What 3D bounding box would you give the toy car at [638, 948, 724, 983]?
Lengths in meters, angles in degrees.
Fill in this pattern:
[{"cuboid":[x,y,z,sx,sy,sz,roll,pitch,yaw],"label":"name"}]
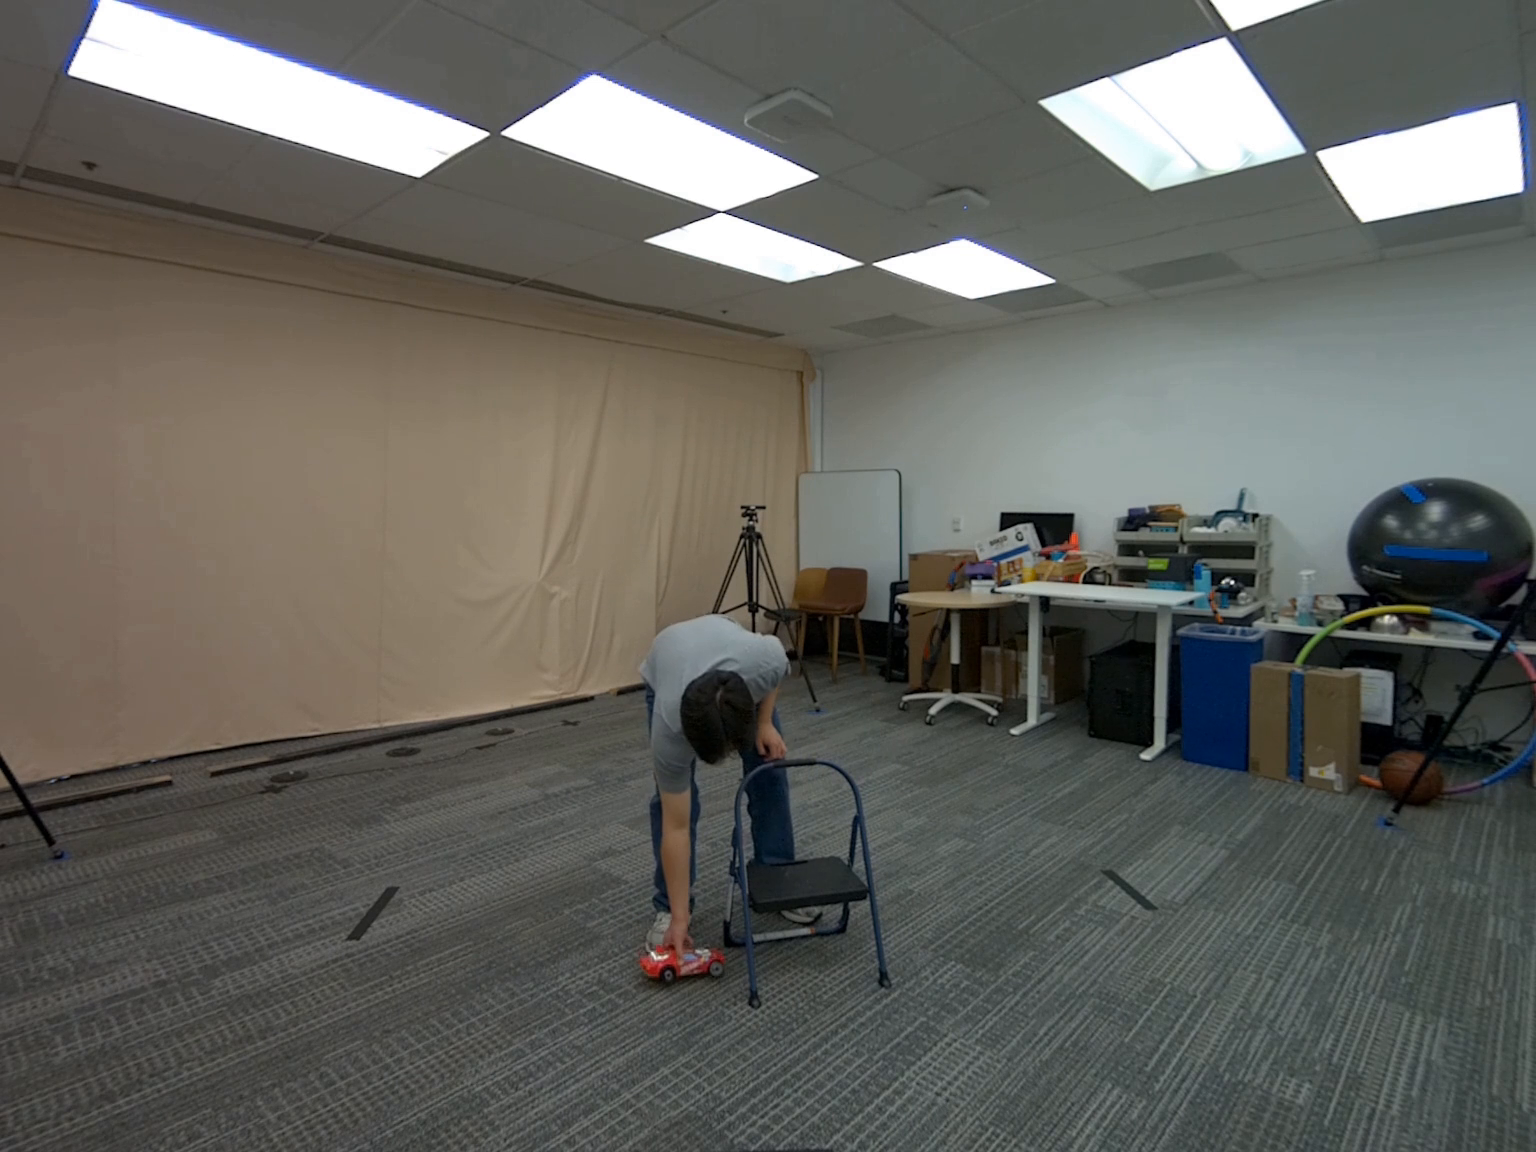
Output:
[{"cuboid":[-0.263,1.129,2.490,0.251,0.083,0.132,11,-10,-14],"label":"toy car"}]
